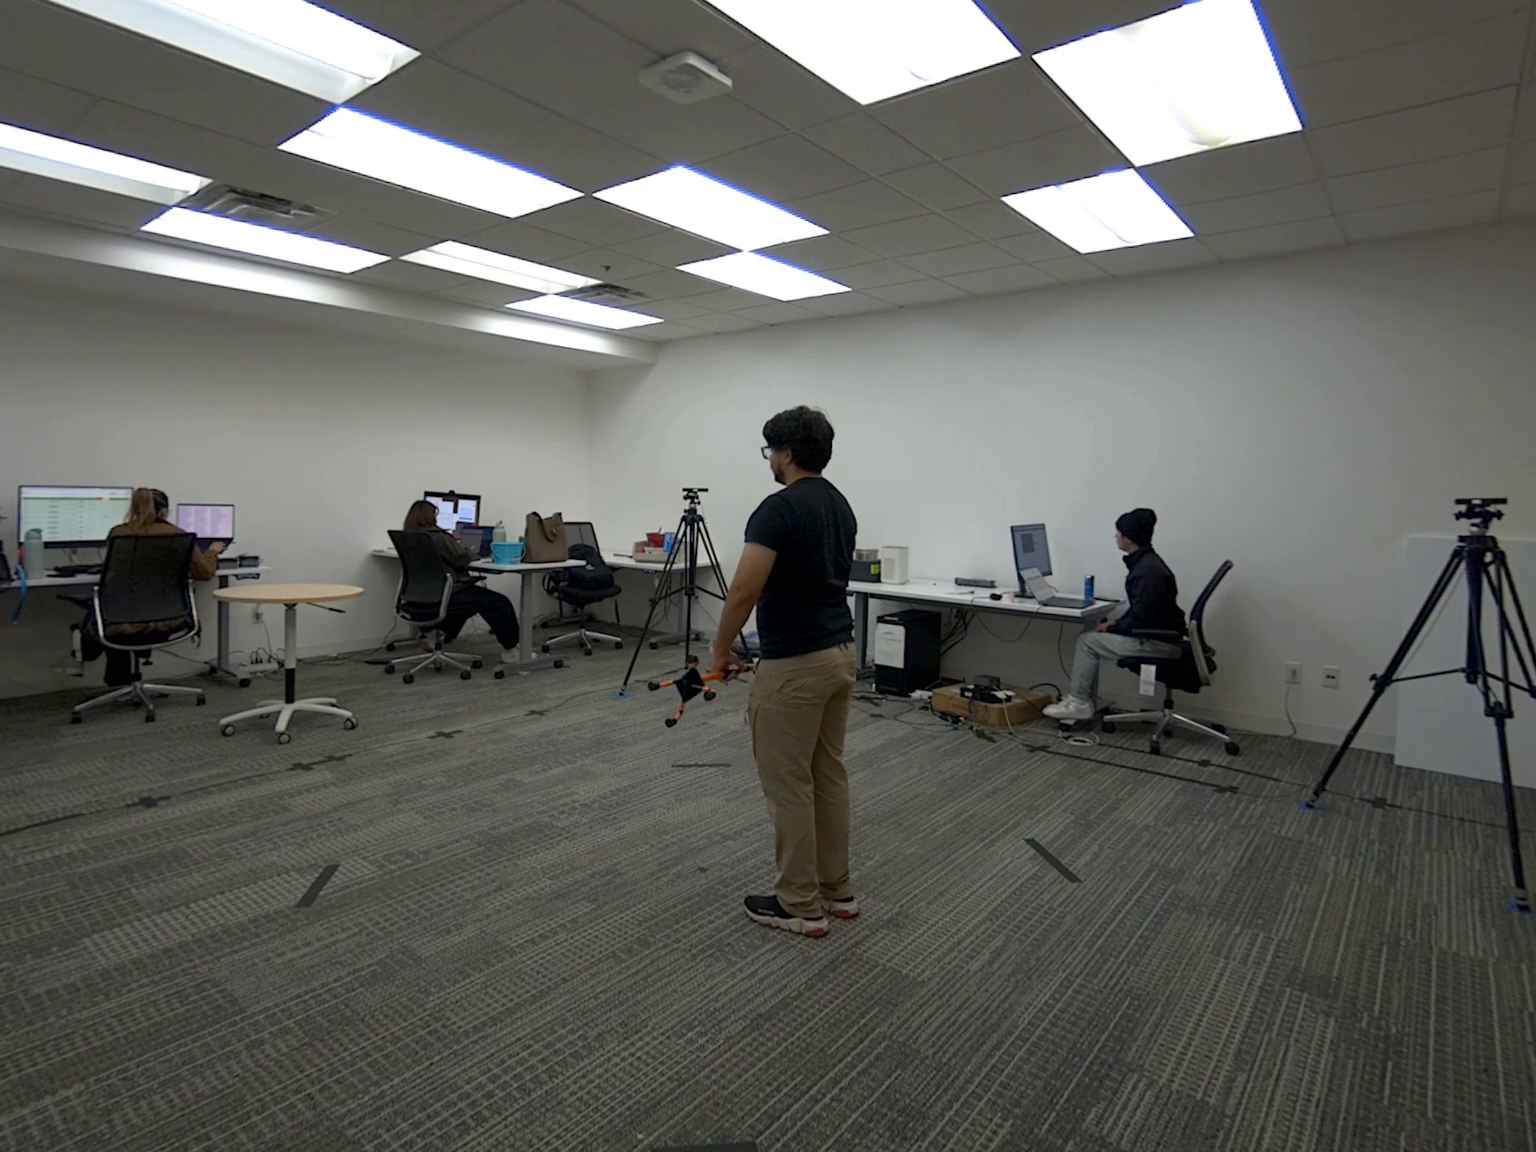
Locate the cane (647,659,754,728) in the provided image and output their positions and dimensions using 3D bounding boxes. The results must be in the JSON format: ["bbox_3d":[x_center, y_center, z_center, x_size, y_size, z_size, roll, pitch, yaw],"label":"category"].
[{"bbox_3d":[-0.036,0.325,2.916,0.207,0.155,0.882,-38,-18,31],"label":"cane"}]
